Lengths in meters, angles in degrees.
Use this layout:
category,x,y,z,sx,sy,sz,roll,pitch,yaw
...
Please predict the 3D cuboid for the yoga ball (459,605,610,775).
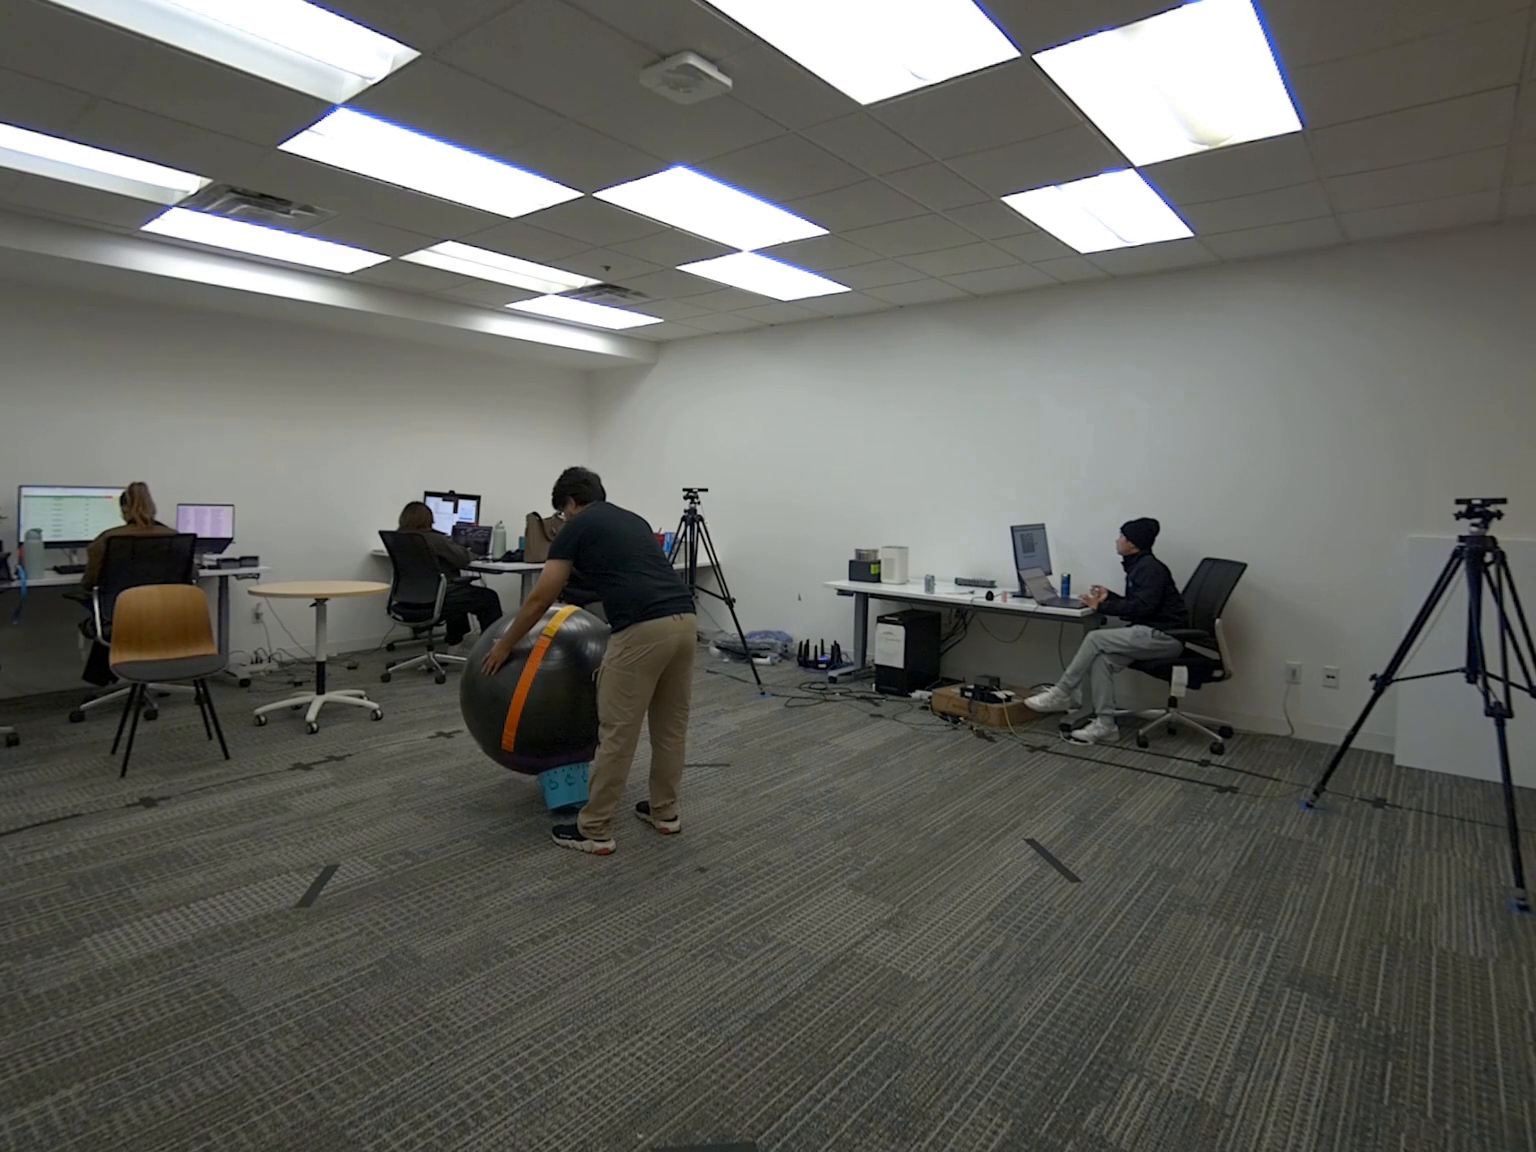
category,x,y,z,sx,sy,sz,roll,pitch,yaw
yoga ball,-1.005,0.502,3.803,0.757,0.756,0.762,1,4,-2
